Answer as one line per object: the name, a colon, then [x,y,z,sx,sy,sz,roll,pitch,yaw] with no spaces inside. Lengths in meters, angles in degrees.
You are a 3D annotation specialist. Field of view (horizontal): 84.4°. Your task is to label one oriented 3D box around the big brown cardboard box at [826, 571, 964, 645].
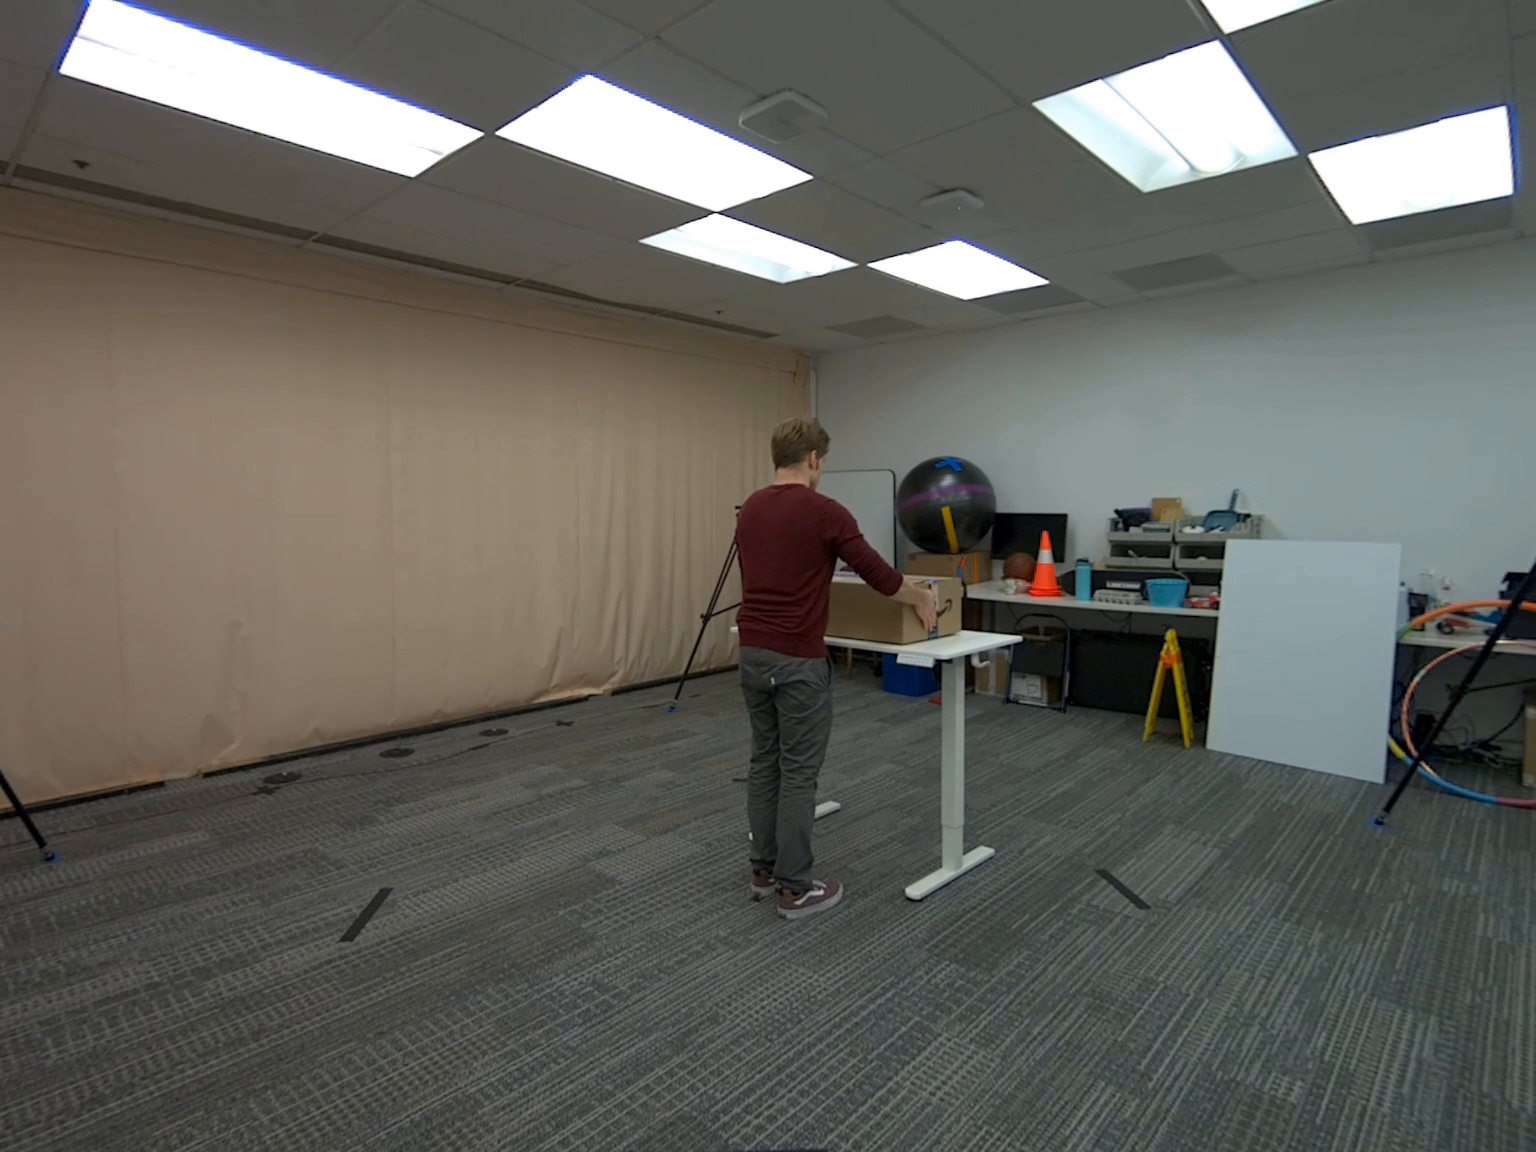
big brown cardboard box: [0.413,0.112,3.370,0.609,0.232,0.405,4,6,43]
